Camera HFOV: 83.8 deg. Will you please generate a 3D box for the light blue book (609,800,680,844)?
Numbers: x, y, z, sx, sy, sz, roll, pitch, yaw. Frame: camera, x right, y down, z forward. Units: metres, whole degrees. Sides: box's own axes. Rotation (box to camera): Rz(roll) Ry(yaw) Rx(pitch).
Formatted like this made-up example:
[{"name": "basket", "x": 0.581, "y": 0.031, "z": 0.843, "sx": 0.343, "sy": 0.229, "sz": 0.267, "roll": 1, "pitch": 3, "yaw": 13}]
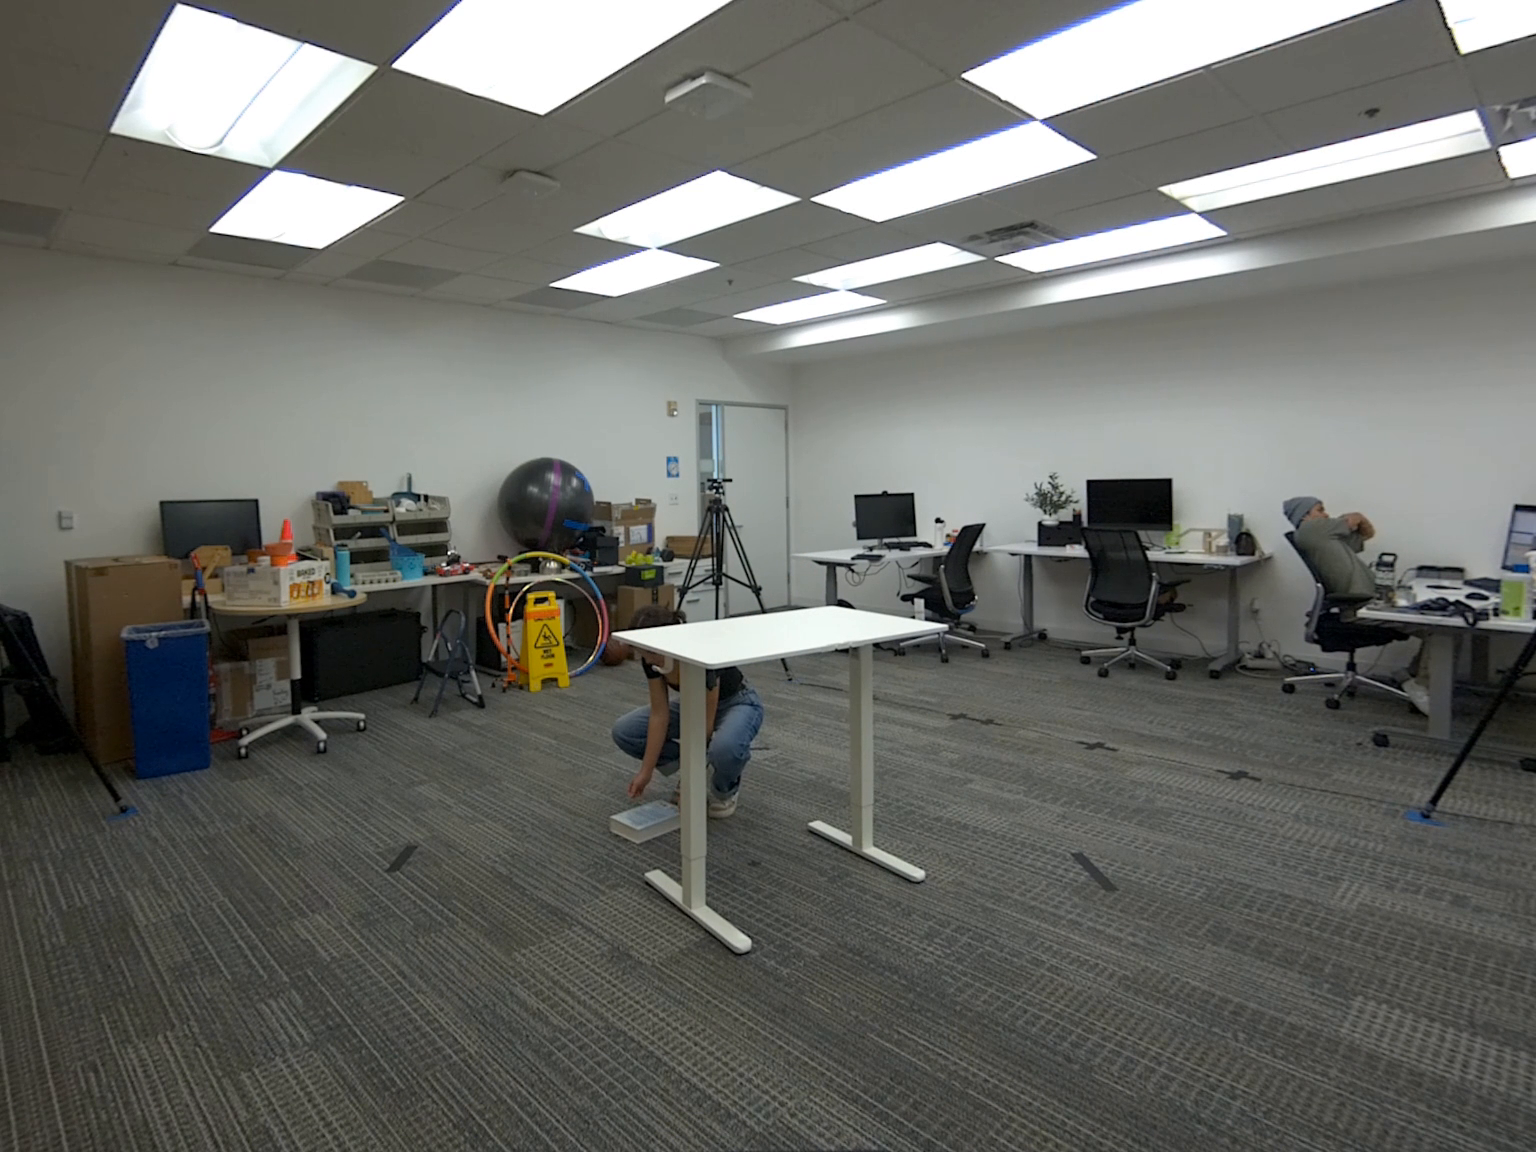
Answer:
[{"name": "light blue book", "x": -0.479, "y": 0.990, "z": 3.446, "sx": 0.254, "sy": 0.059, "sz": 0.197, "roll": -7, "pitch": 8, "yaw": -44}]
